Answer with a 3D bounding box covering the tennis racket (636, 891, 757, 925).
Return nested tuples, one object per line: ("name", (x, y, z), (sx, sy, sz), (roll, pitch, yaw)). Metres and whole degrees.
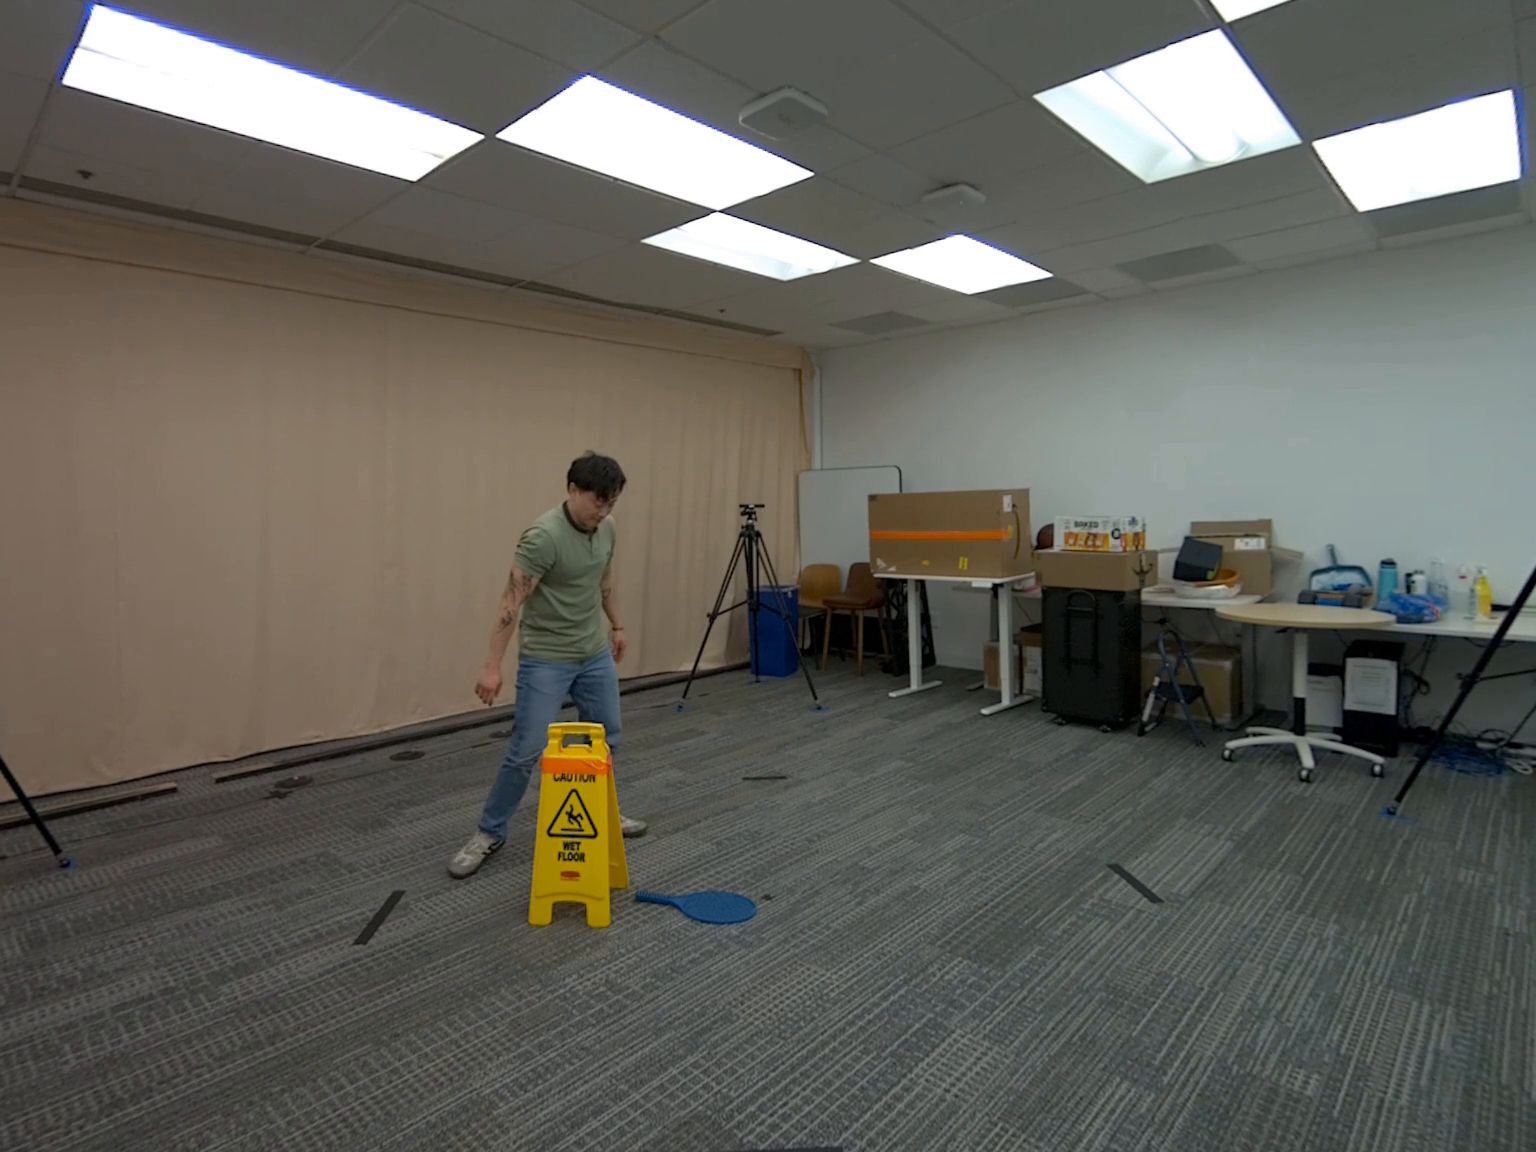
("tennis racket", (-0.246, 1.133, 2.928), (0.440, 0.031, 0.211), (2, 6, 15))
